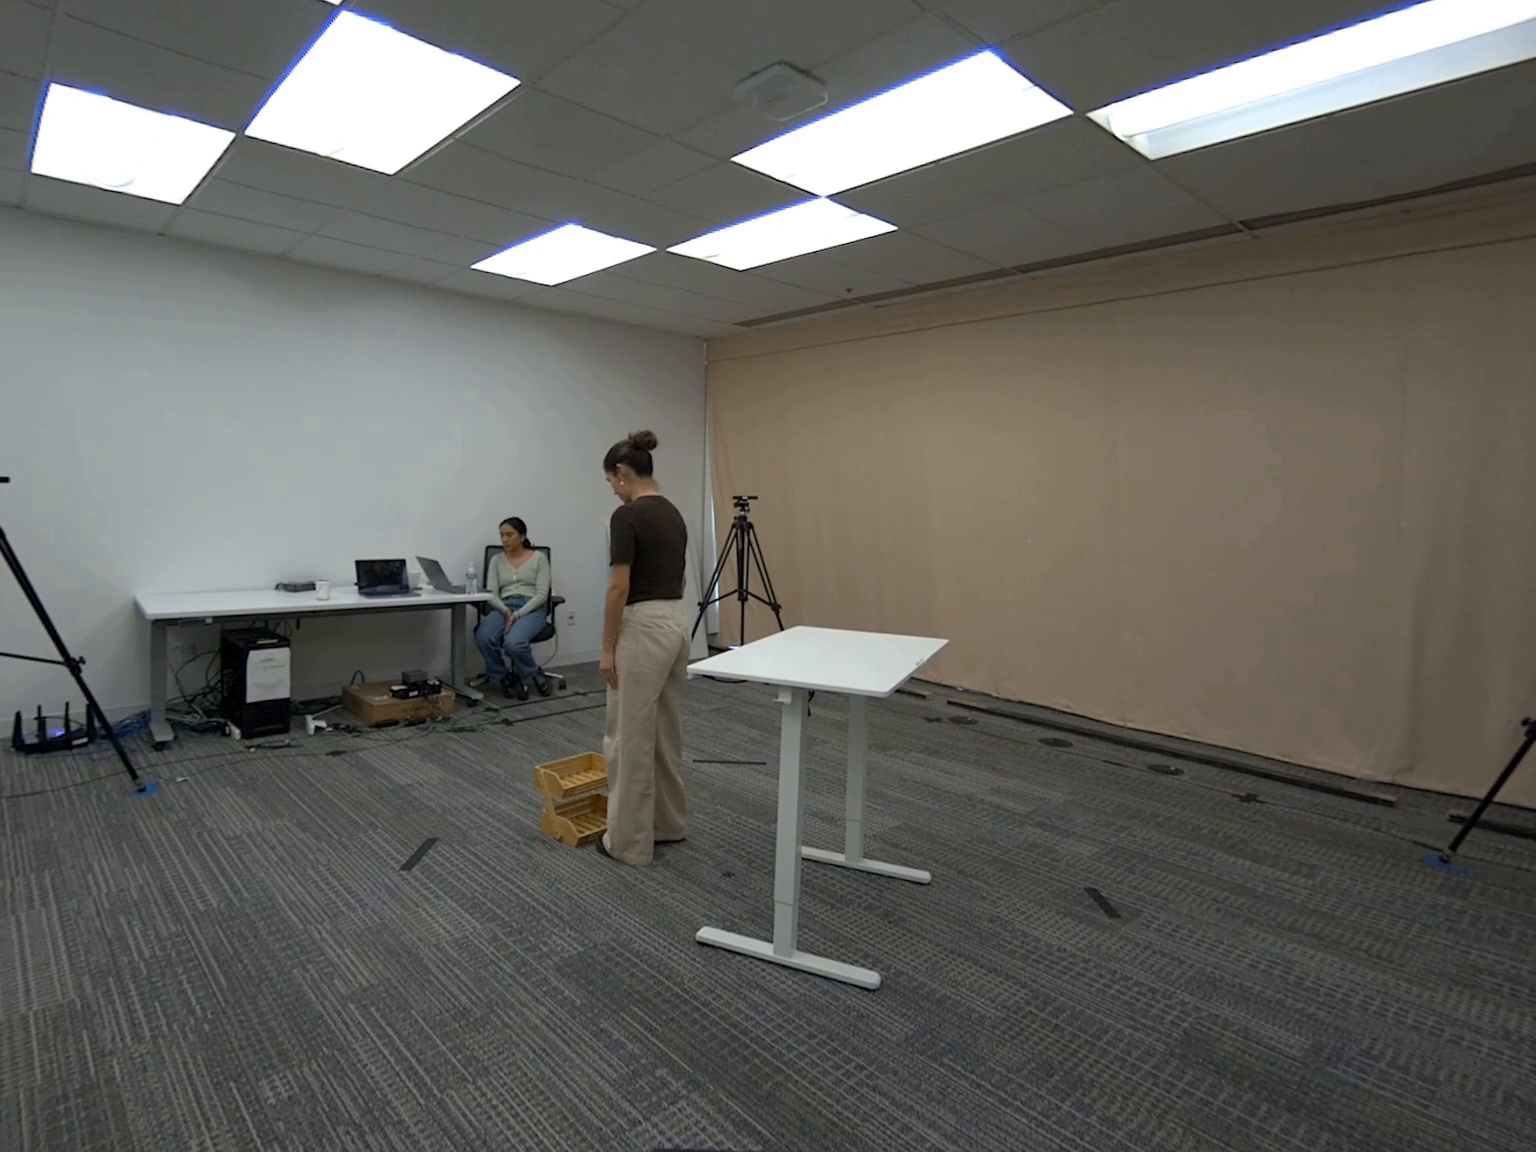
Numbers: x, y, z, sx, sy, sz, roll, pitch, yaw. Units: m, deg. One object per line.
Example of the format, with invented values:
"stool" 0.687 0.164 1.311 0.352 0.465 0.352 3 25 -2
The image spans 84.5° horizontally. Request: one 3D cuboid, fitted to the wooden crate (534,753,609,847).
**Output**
"wooden crate" -0.770 0.917 3.507 0.309 0.273 0.317 4 4 40
